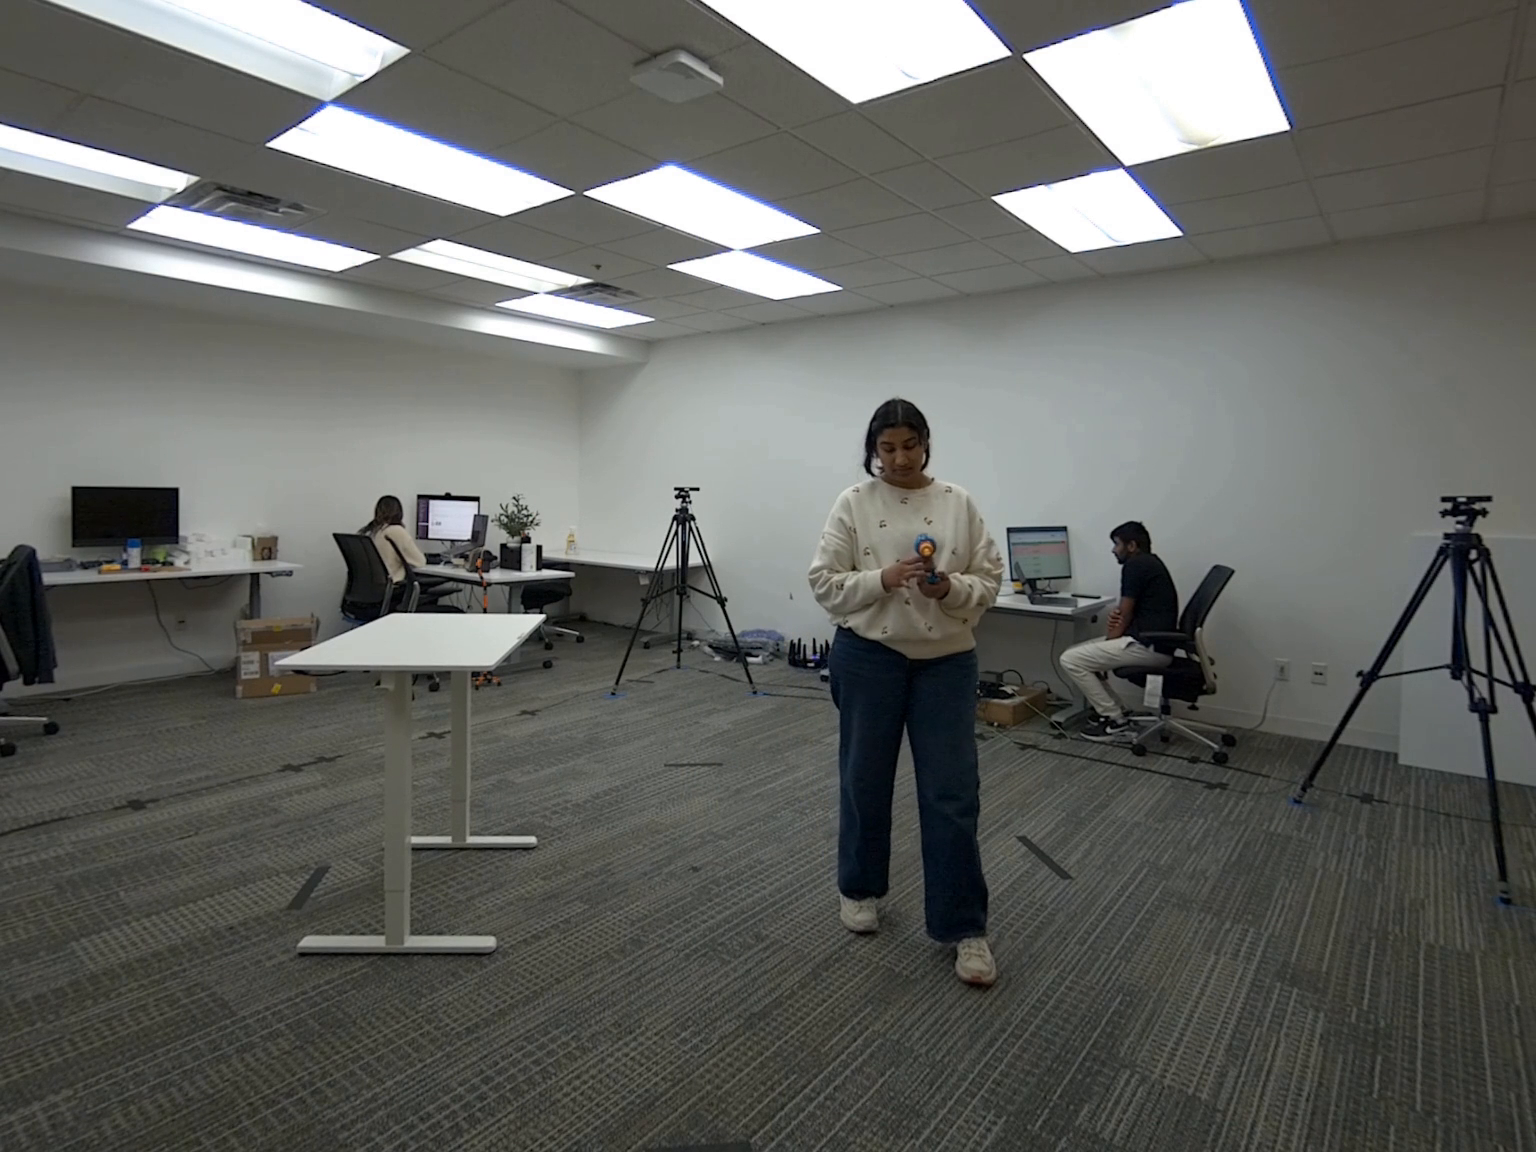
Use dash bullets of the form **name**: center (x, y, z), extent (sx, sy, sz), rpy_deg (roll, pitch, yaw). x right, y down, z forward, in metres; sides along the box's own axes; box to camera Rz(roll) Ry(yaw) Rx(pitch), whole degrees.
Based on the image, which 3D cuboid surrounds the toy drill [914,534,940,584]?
- **toy drill**: center (0.448, -0.047, 2.353), extent (0.061, 0.144, 0.172), rpy_deg (-11, 13, -3)
